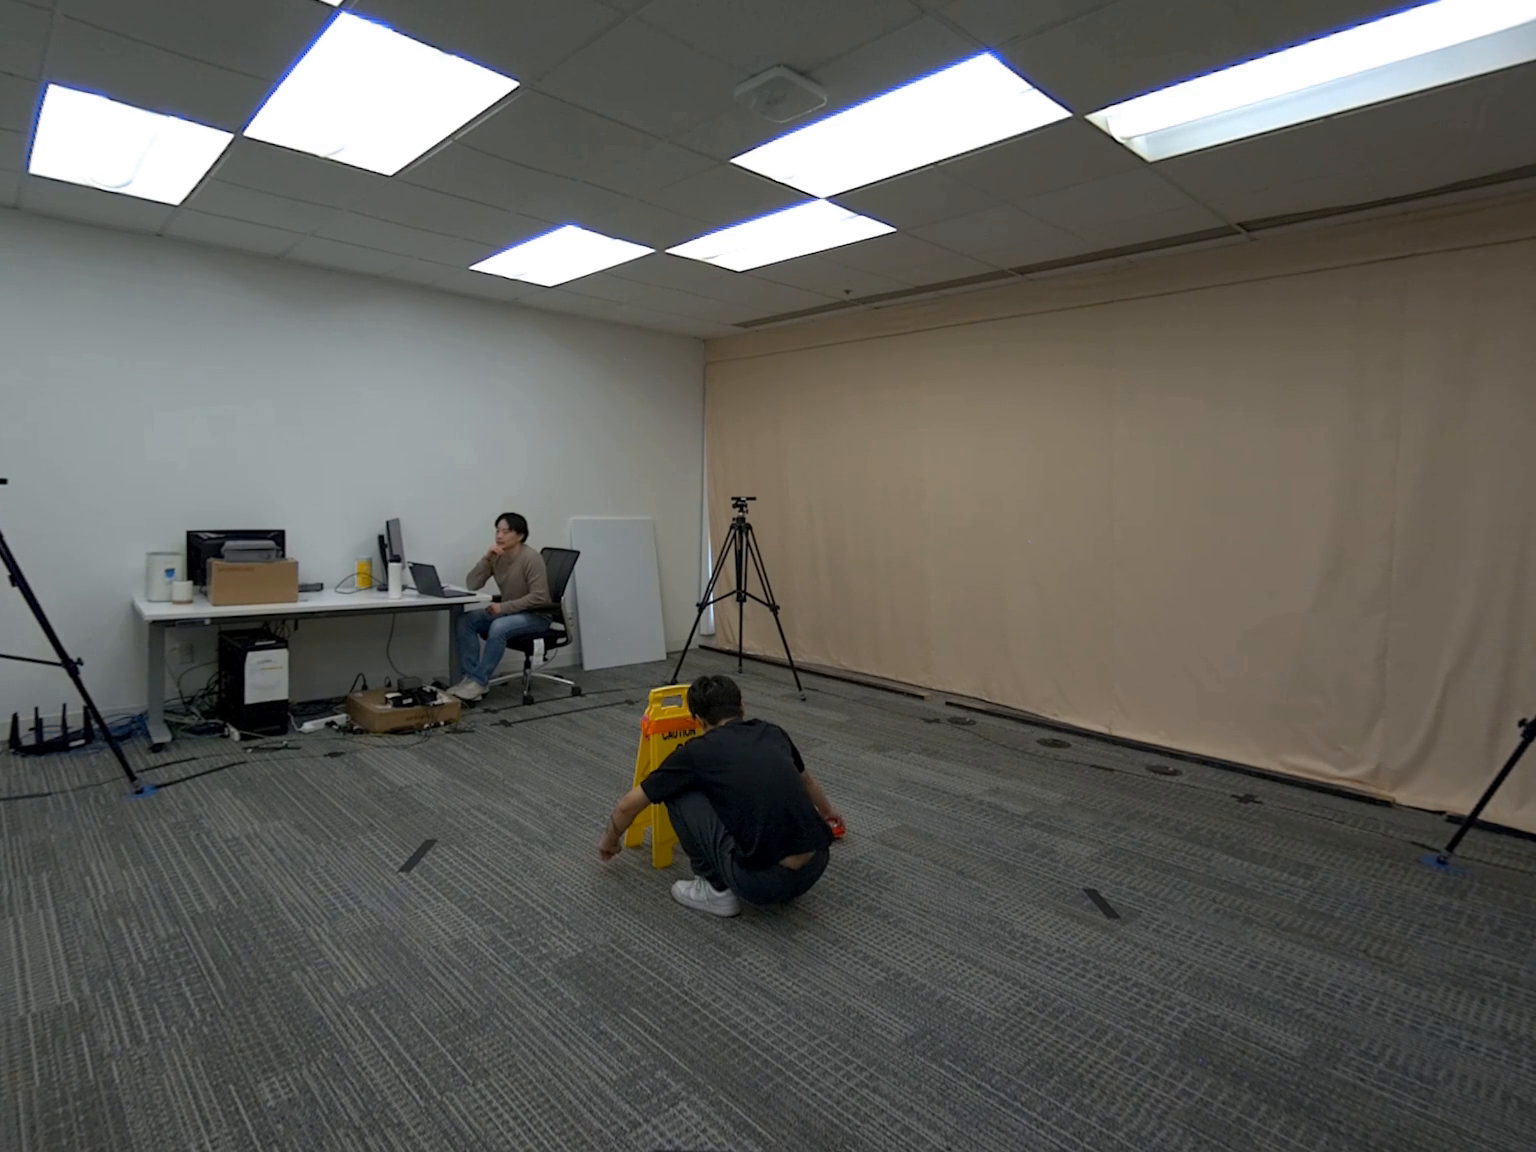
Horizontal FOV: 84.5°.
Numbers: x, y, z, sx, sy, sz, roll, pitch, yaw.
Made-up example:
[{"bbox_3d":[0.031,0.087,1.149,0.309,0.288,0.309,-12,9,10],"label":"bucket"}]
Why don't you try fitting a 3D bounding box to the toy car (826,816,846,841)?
[{"bbox_3d":[0.202,1.046,3.527,0.127,0.083,0.259,1,-4,-34],"label":"toy car"}]
